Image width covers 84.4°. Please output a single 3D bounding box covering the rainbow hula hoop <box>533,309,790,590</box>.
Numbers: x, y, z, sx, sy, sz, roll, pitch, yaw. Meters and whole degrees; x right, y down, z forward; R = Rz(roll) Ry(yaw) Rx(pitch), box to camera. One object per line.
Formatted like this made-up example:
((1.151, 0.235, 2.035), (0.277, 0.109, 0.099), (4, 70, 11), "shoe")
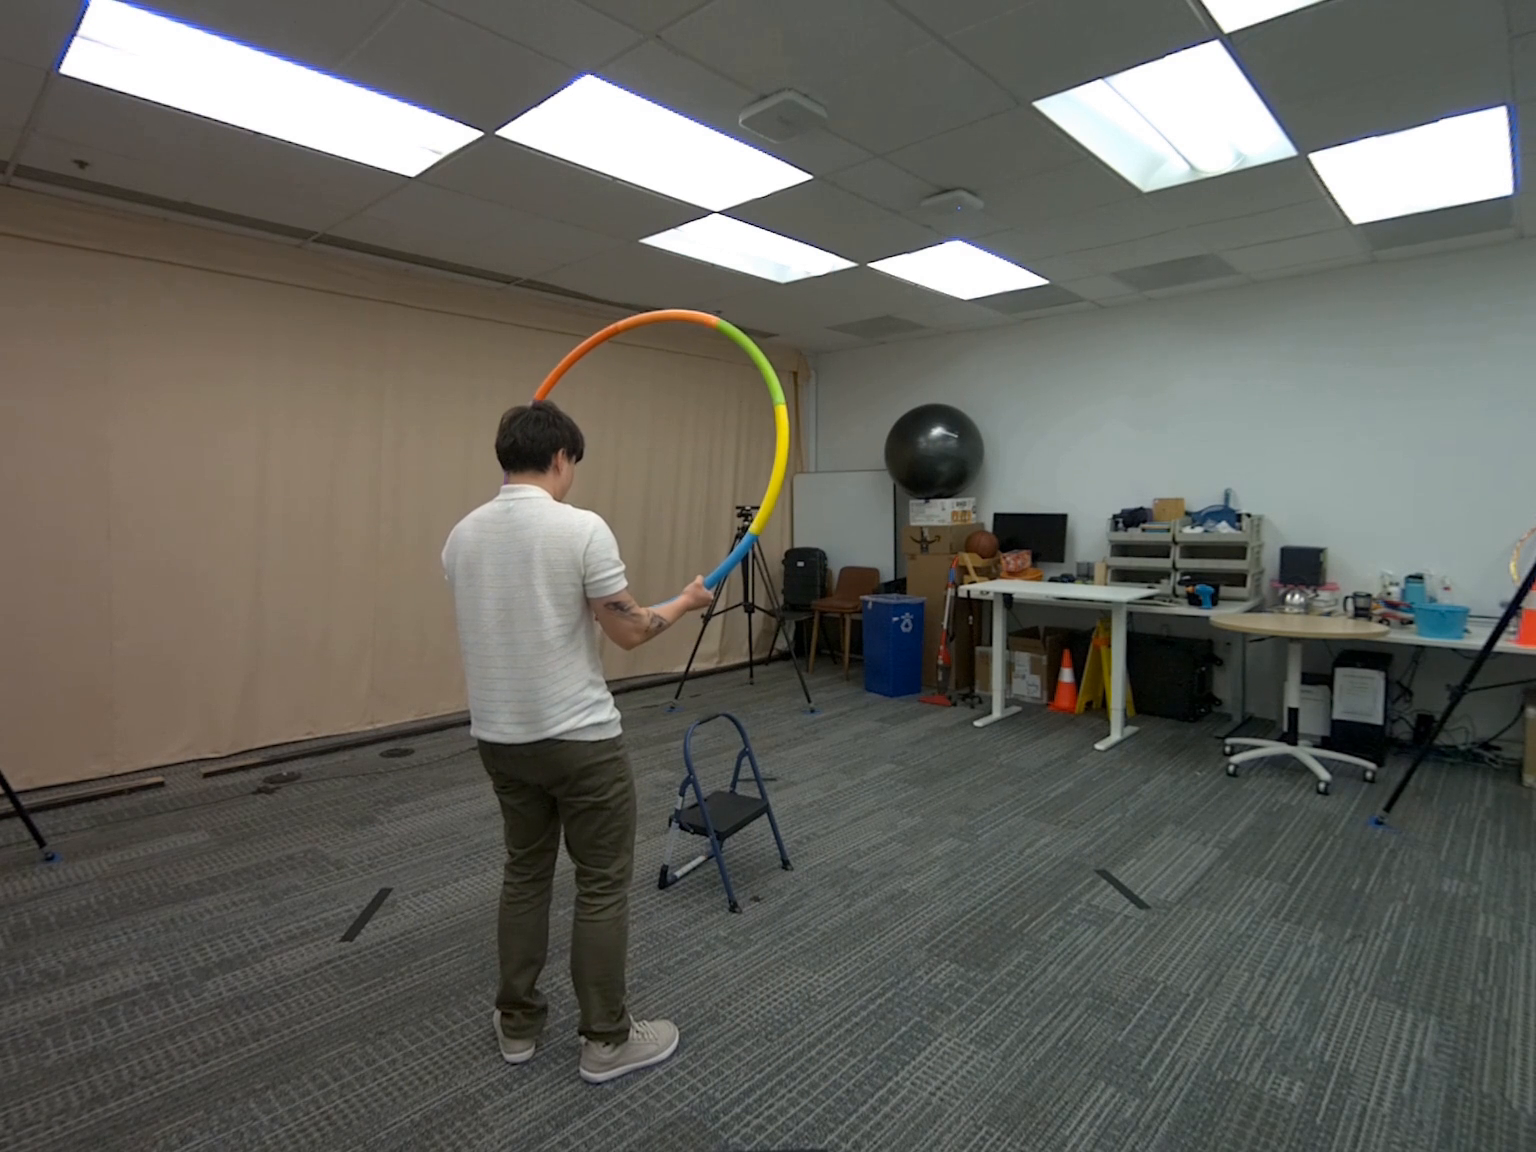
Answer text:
((-0.390, -0.345, 2.528), (1.005, 0.985, 0.034), (2, -15, 27), "rainbow hula hoop")
